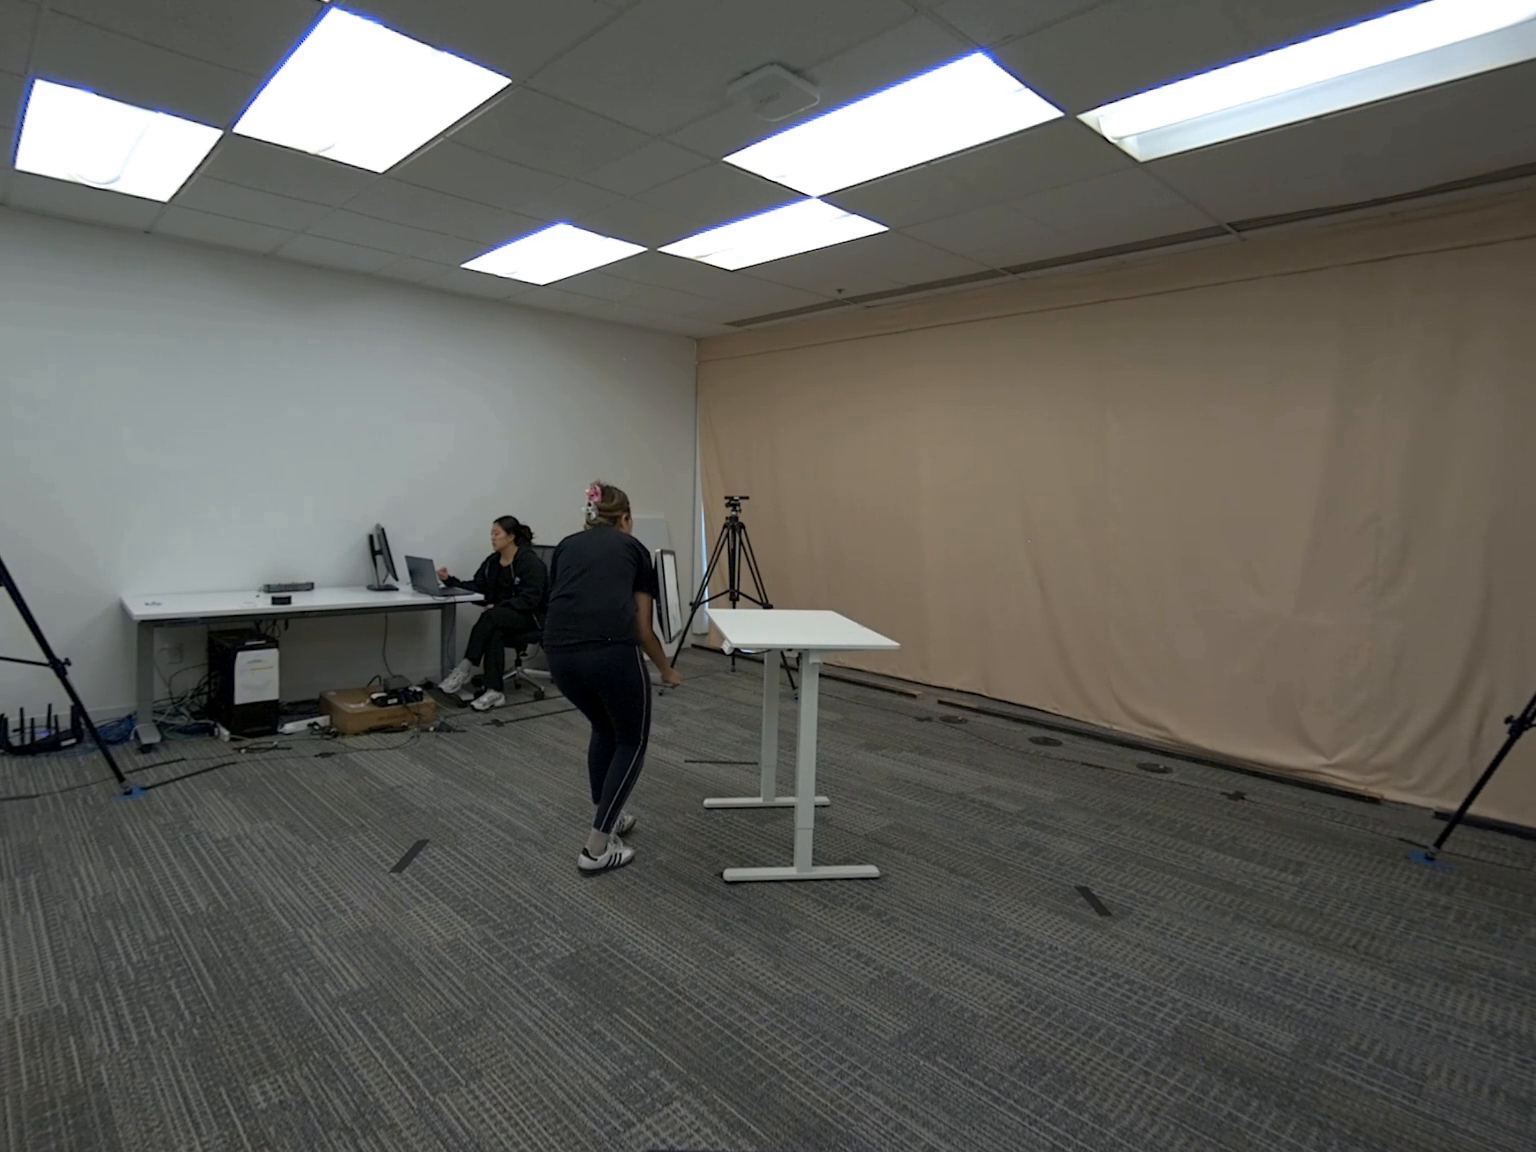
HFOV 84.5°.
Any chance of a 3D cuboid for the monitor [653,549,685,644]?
[{"bbox_3d":[-0.455,0.168,3.493,0.186,0.522,0.541,7,1,-5],"label":"monitor"}]
